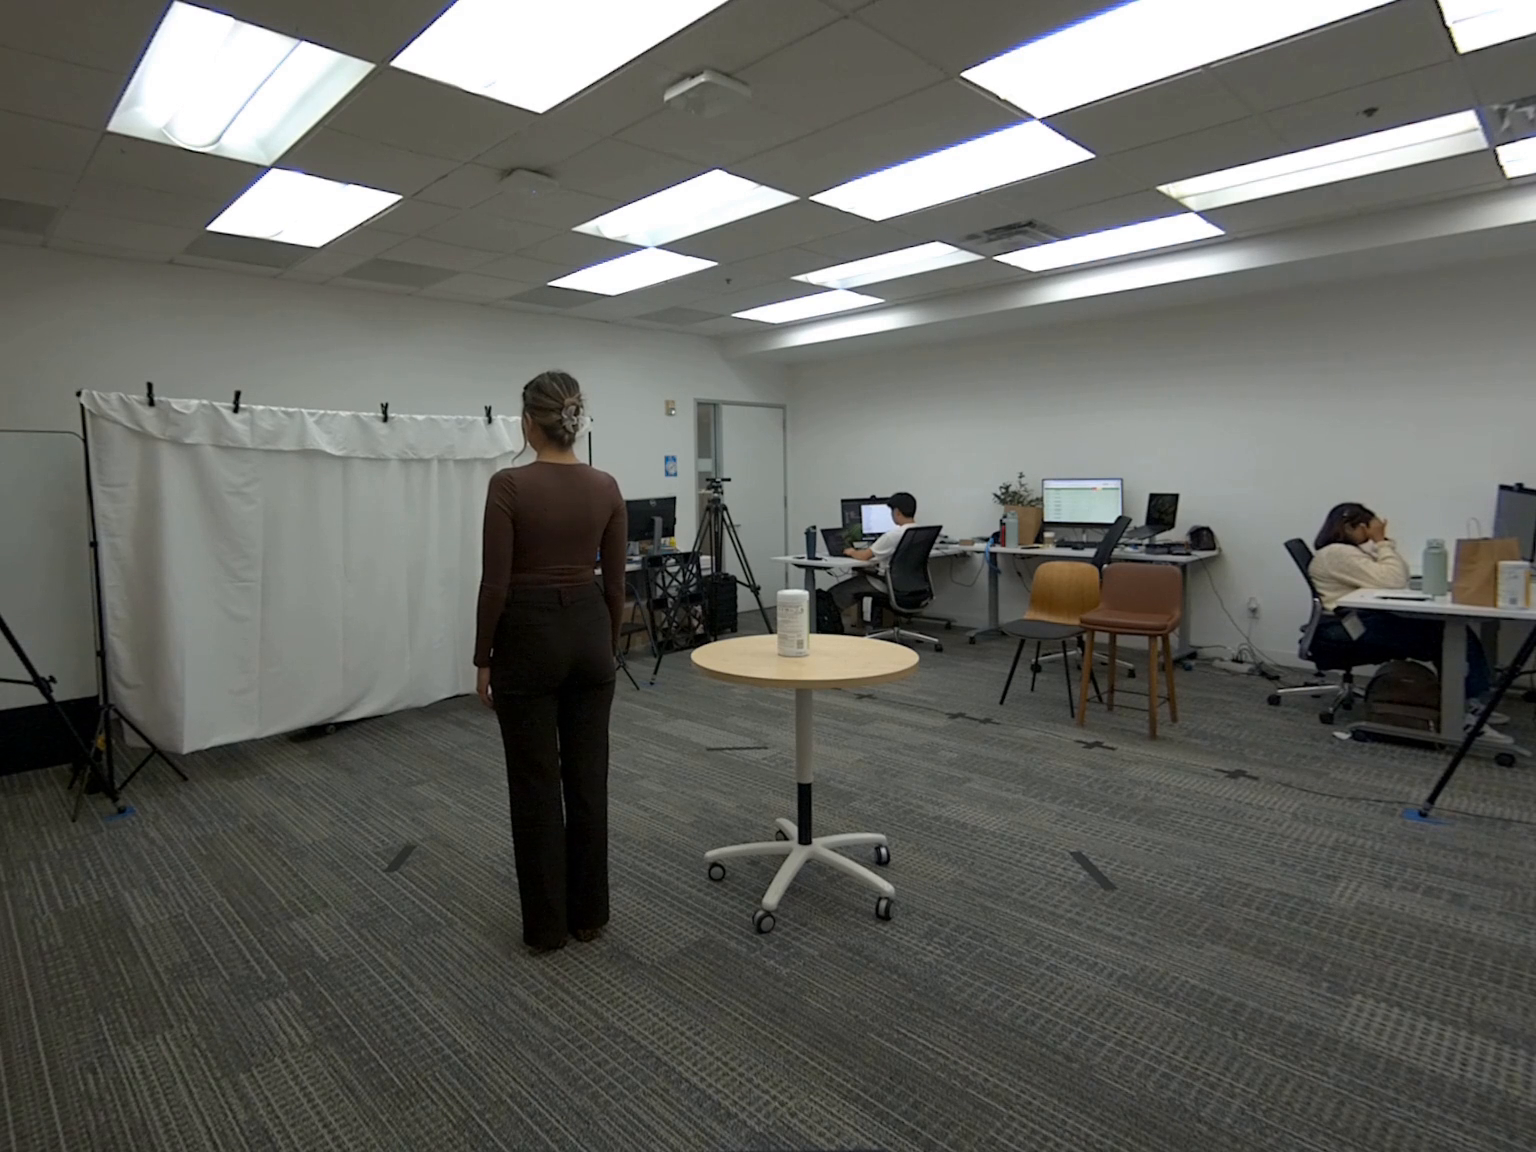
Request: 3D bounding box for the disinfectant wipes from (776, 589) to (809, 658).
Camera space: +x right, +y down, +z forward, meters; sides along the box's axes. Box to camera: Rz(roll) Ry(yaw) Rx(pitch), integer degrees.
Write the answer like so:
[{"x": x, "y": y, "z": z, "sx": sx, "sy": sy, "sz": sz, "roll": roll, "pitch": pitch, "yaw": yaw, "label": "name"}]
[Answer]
[{"x": 0.090, "y": 0.160, "z": 2.894, "sx": 0.118, "sy": 0.217, "sz": 0.118, "roll": -2, "pitch": 3, "yaw": -2, "label": "disinfectant wipes"}]
